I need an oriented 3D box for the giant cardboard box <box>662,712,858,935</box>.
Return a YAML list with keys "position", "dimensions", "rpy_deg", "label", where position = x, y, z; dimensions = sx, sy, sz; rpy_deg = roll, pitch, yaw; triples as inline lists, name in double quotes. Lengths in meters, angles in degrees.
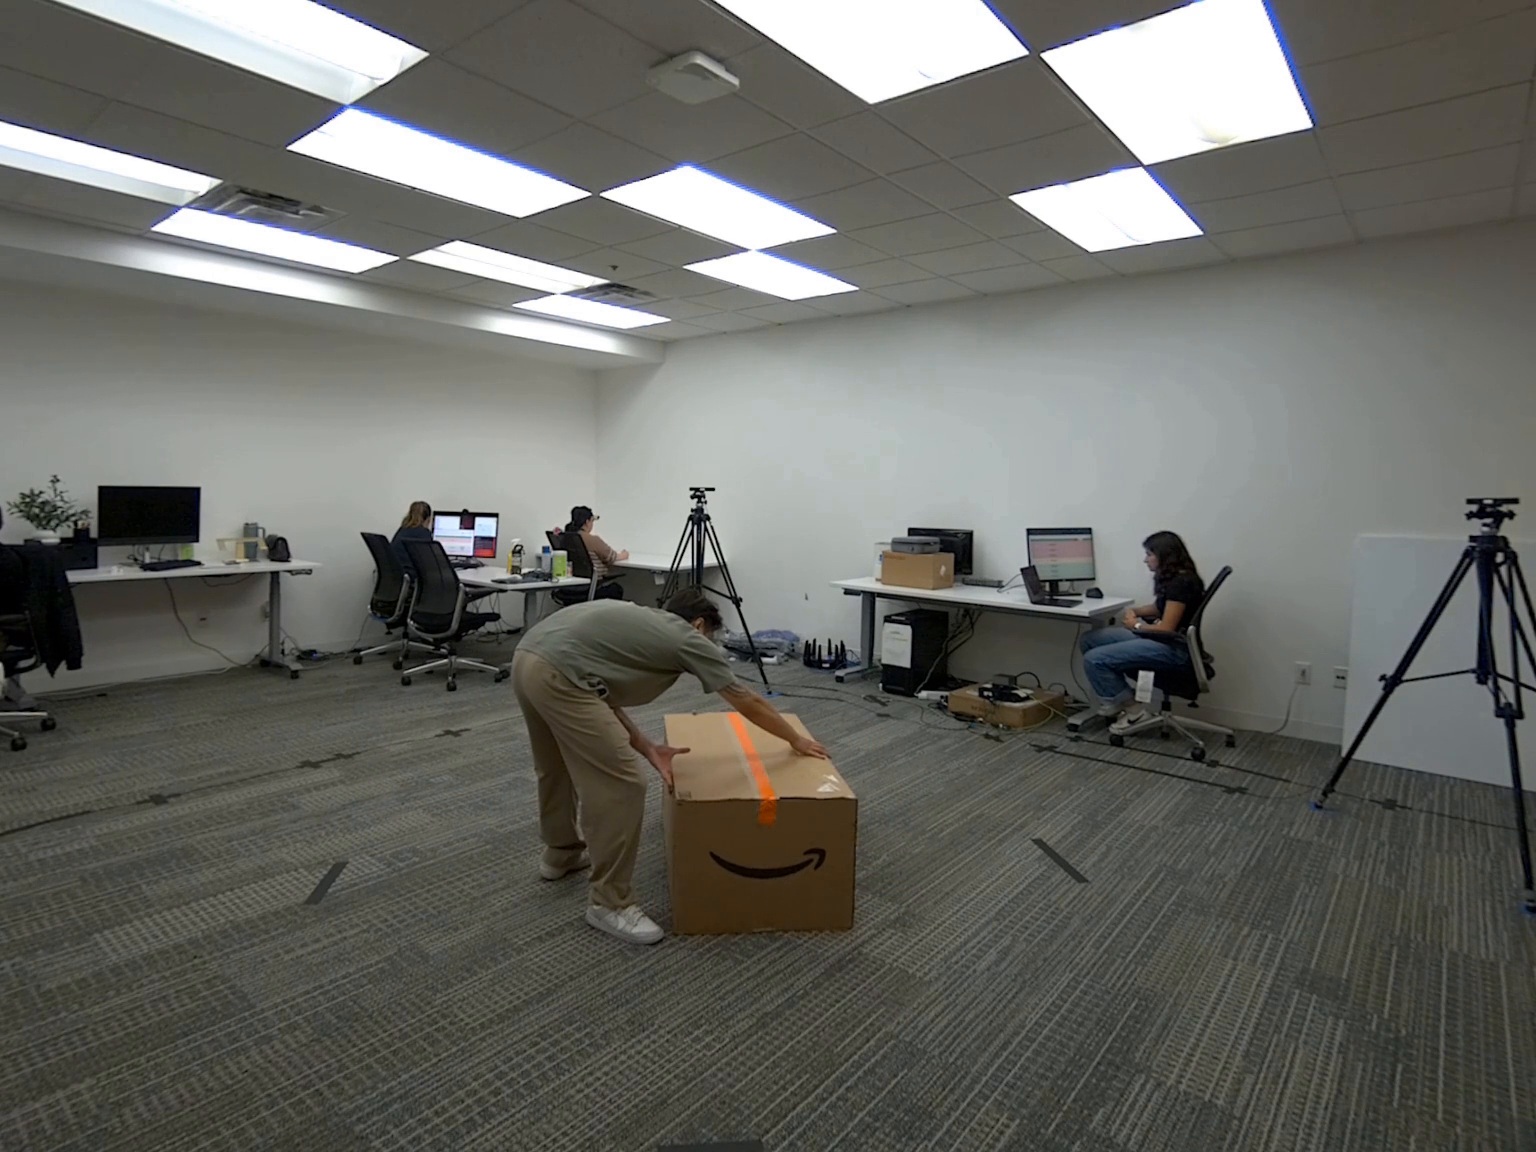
- position: [-0.090, 0.843, 3.160]
  dimensions: [0.573, 0.424, 1.038]
  rpy_deg: [0, 6, -8]
  label: "giant cardboard box"
